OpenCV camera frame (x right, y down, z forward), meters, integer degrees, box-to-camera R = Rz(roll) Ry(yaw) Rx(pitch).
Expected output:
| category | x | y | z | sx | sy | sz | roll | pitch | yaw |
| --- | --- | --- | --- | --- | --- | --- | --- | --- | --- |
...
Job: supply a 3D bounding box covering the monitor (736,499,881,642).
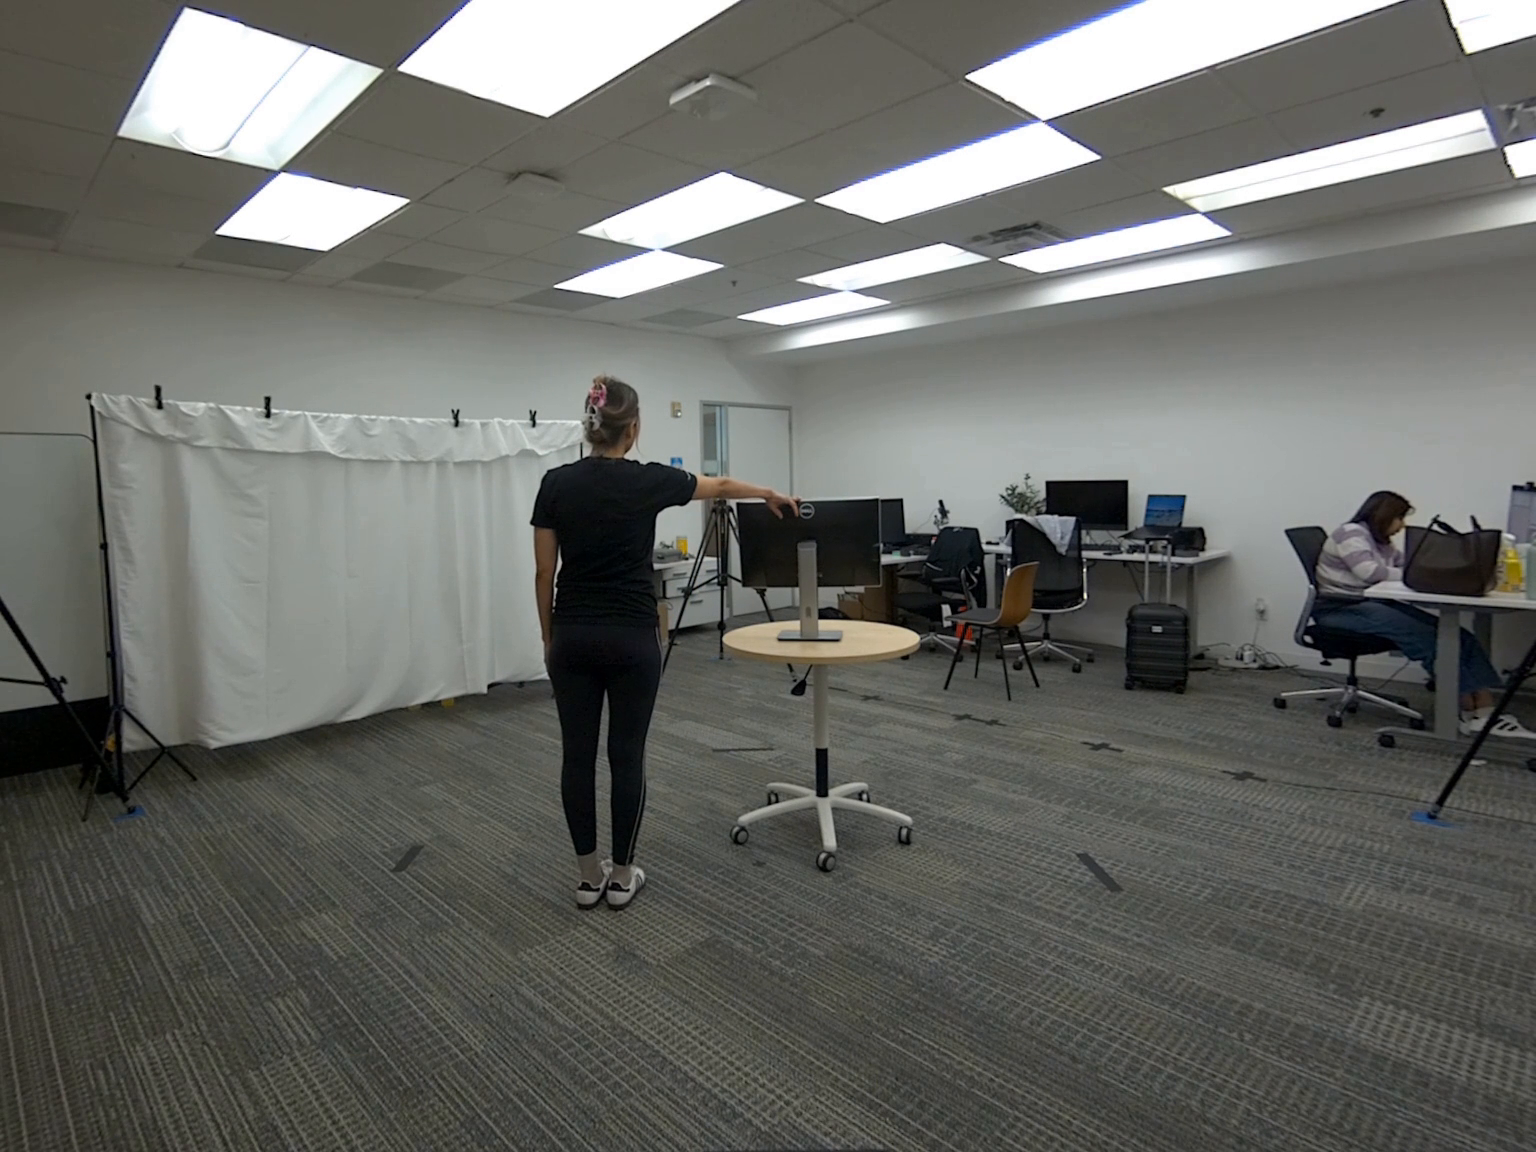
| category | x | y | z | sx | sy | sz | roll | pitch | yaw |
| --- | --- | --- | --- | --- | --- | --- | --- | --- | --- |
| monitor | 0.157 | -0.022 | 3.330 | 0.544 | 0.521 | 0.186 | -1 | 3 | 9 |
